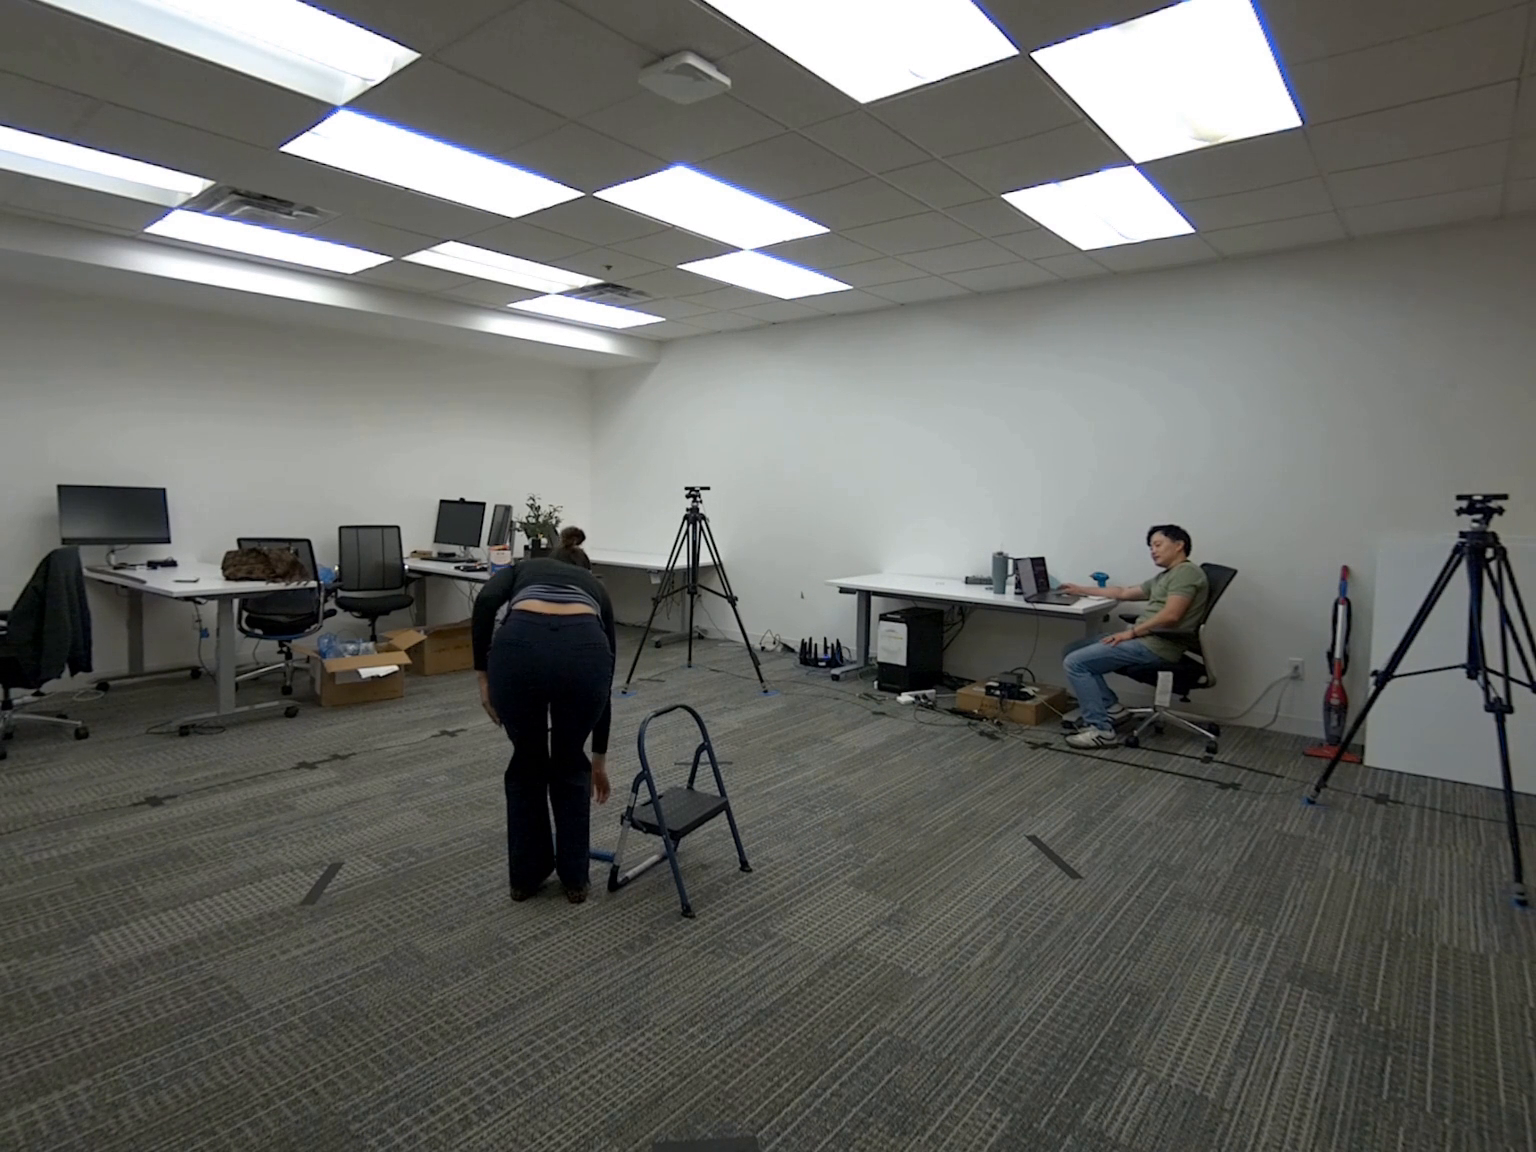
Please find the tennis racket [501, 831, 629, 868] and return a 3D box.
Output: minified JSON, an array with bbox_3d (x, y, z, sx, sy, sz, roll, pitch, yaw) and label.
[{"bbox_3d":[-0.780,1.027,3.229,0.443,0.031,0.209,1,5,22],"label":"tennis racket"}]
